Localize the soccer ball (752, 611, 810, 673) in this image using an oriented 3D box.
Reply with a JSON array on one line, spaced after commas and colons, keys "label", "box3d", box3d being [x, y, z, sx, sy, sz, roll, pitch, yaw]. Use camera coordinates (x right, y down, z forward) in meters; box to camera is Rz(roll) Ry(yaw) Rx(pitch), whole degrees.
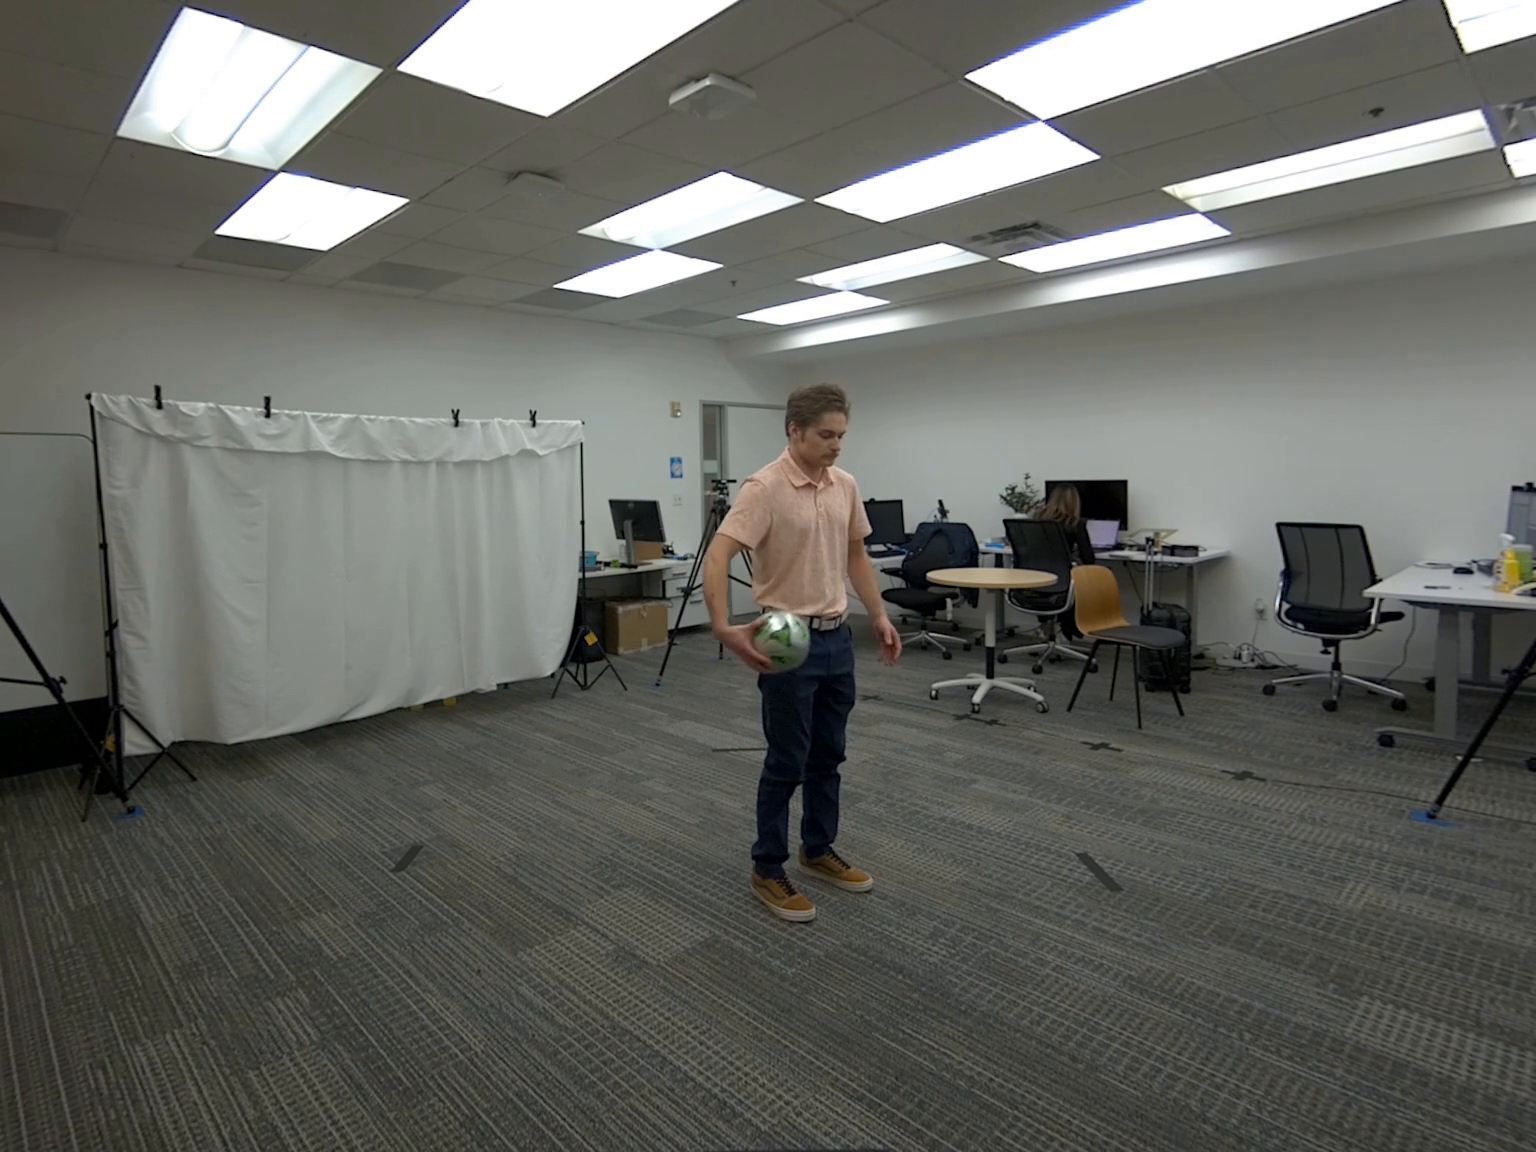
[{"label": "soccer ball", "box3d": [0.022, 0.191, 2.556, 0.187, 0.187, 0.188, -1, 5, -2]}]
